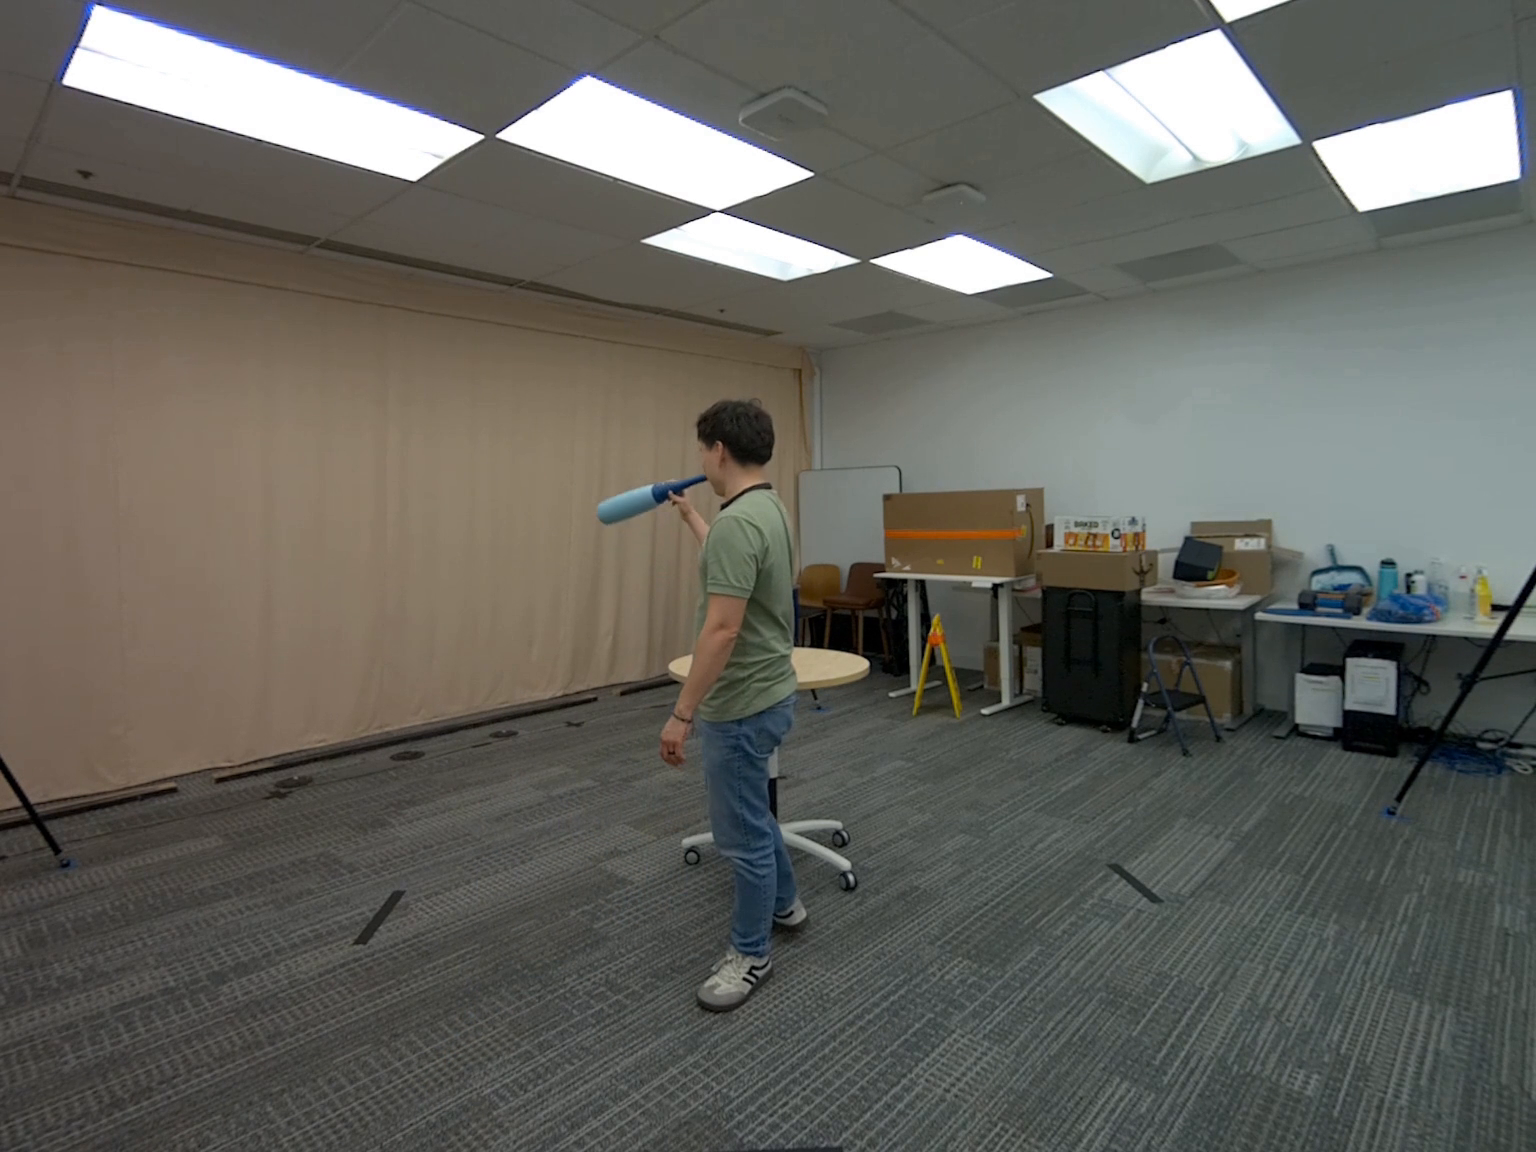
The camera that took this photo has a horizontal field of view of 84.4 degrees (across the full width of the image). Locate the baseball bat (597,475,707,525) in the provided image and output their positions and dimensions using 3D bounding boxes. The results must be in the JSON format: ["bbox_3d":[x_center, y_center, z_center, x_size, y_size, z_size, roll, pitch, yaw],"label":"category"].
[{"bbox_3d":[-0.346,-0.266,2.821,0.555,0.089,0.087,-15,-4,31],"label":"baseball bat"}]
